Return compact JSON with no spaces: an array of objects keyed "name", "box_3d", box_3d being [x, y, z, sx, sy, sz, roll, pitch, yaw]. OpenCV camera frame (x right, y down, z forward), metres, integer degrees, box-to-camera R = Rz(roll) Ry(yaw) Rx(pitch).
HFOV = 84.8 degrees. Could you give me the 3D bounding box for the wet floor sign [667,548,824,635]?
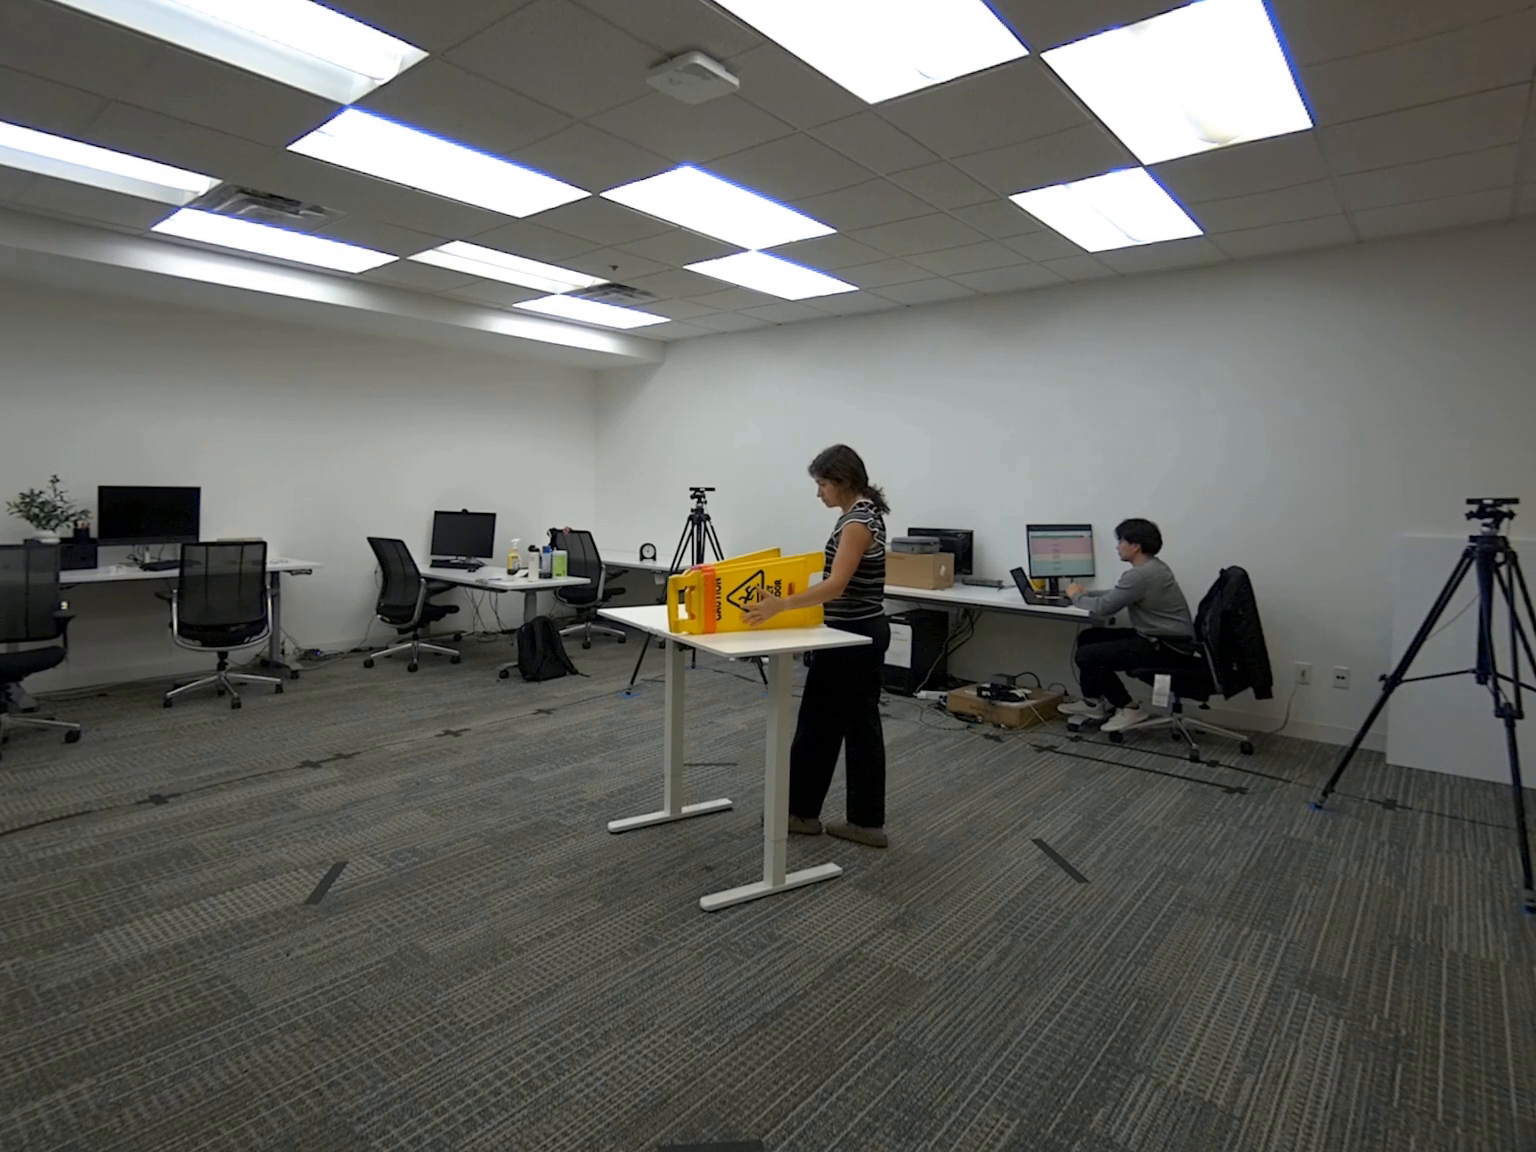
[{"name":"wet floor sign","box_3d":[-0.114,0.065,3.097,0.628,0.281,0.300,-8,9,-43]}]
